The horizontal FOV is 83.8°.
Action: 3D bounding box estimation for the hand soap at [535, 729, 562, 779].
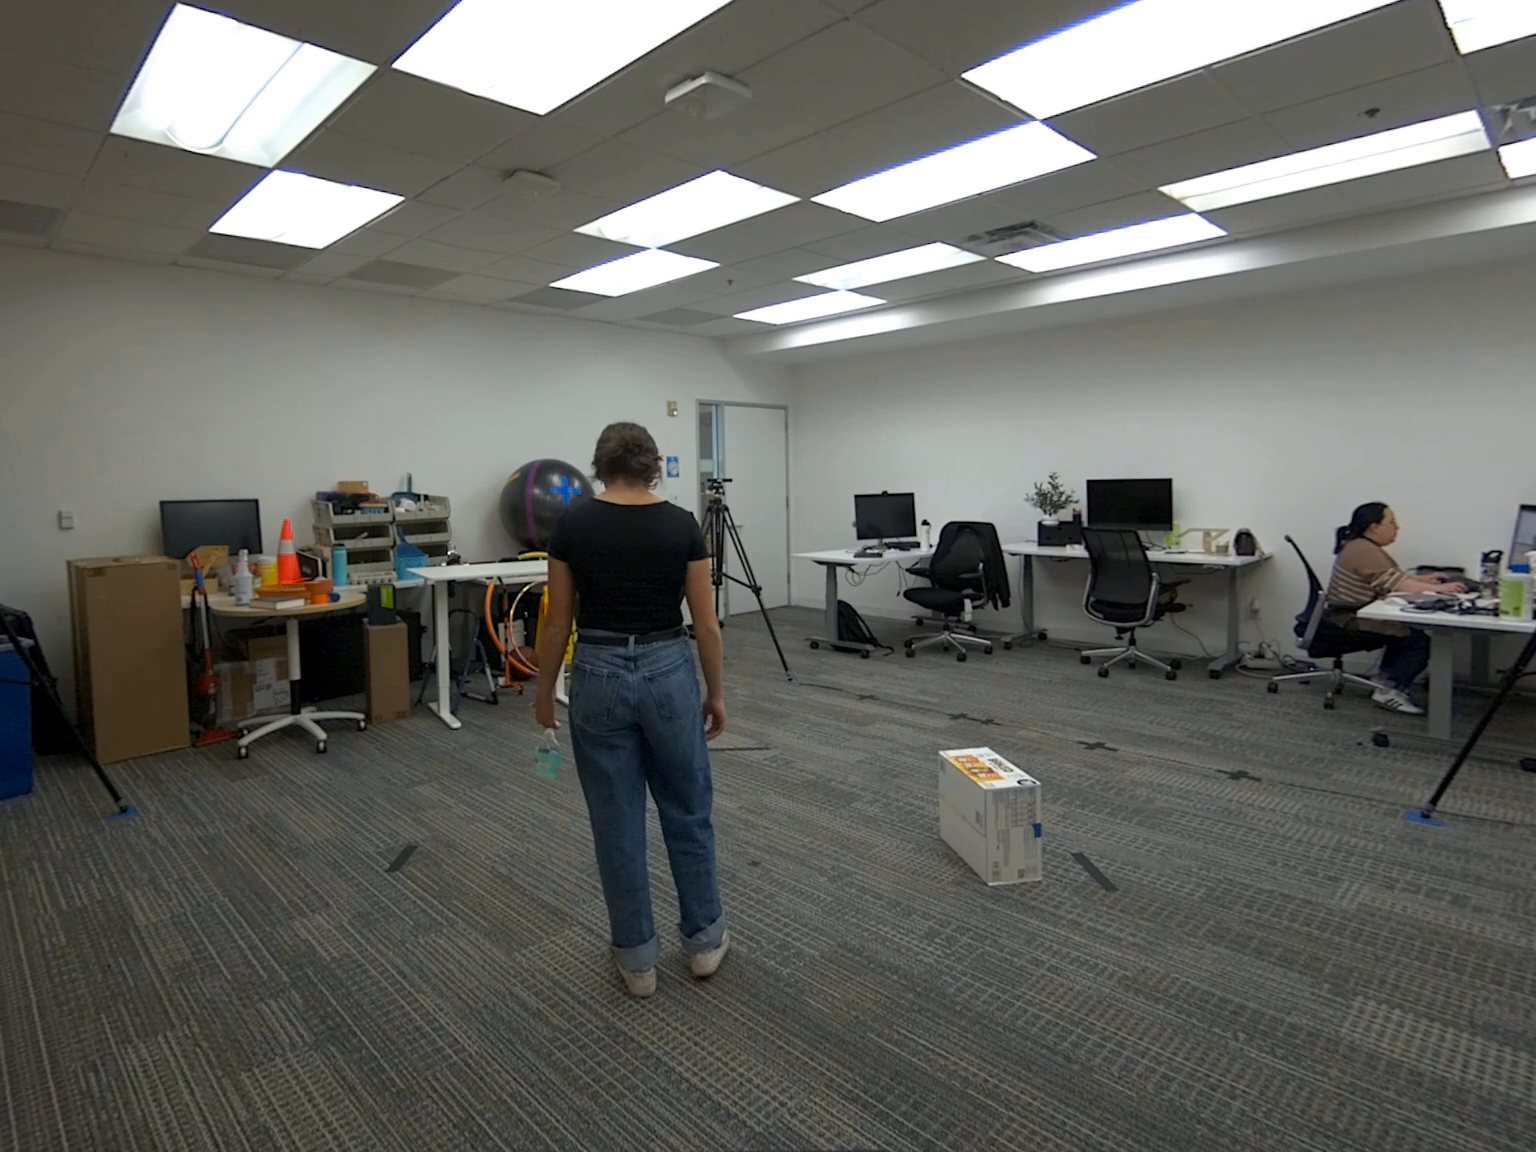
[{"bbox_3d":[-0.633,0.512,2.509,0.085,0.167,0.043,2,8,12],"label":"hand soap"}]
